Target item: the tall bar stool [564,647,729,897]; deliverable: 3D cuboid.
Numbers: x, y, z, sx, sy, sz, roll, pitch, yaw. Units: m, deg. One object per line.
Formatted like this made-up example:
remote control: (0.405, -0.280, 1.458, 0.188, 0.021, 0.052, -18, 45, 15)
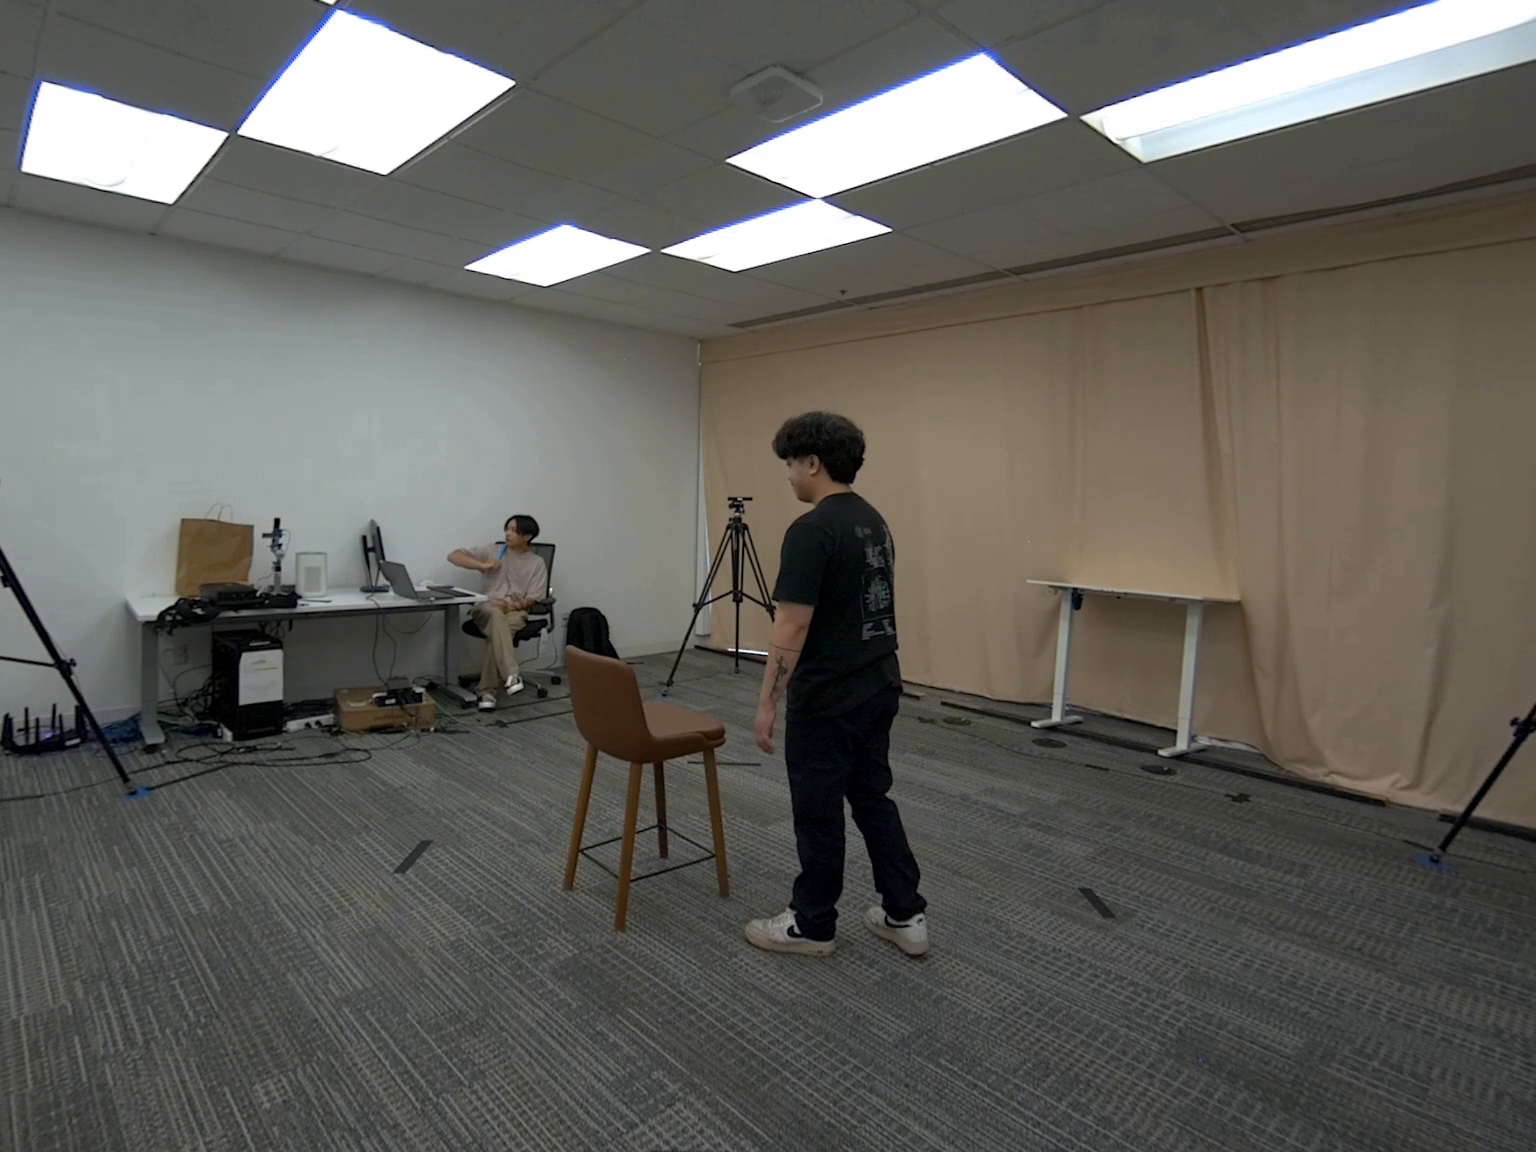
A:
tall bar stool: (-0.439, 0.681, 2.945, 0.457, 0.886, 0.468, -5, 6, -40)
